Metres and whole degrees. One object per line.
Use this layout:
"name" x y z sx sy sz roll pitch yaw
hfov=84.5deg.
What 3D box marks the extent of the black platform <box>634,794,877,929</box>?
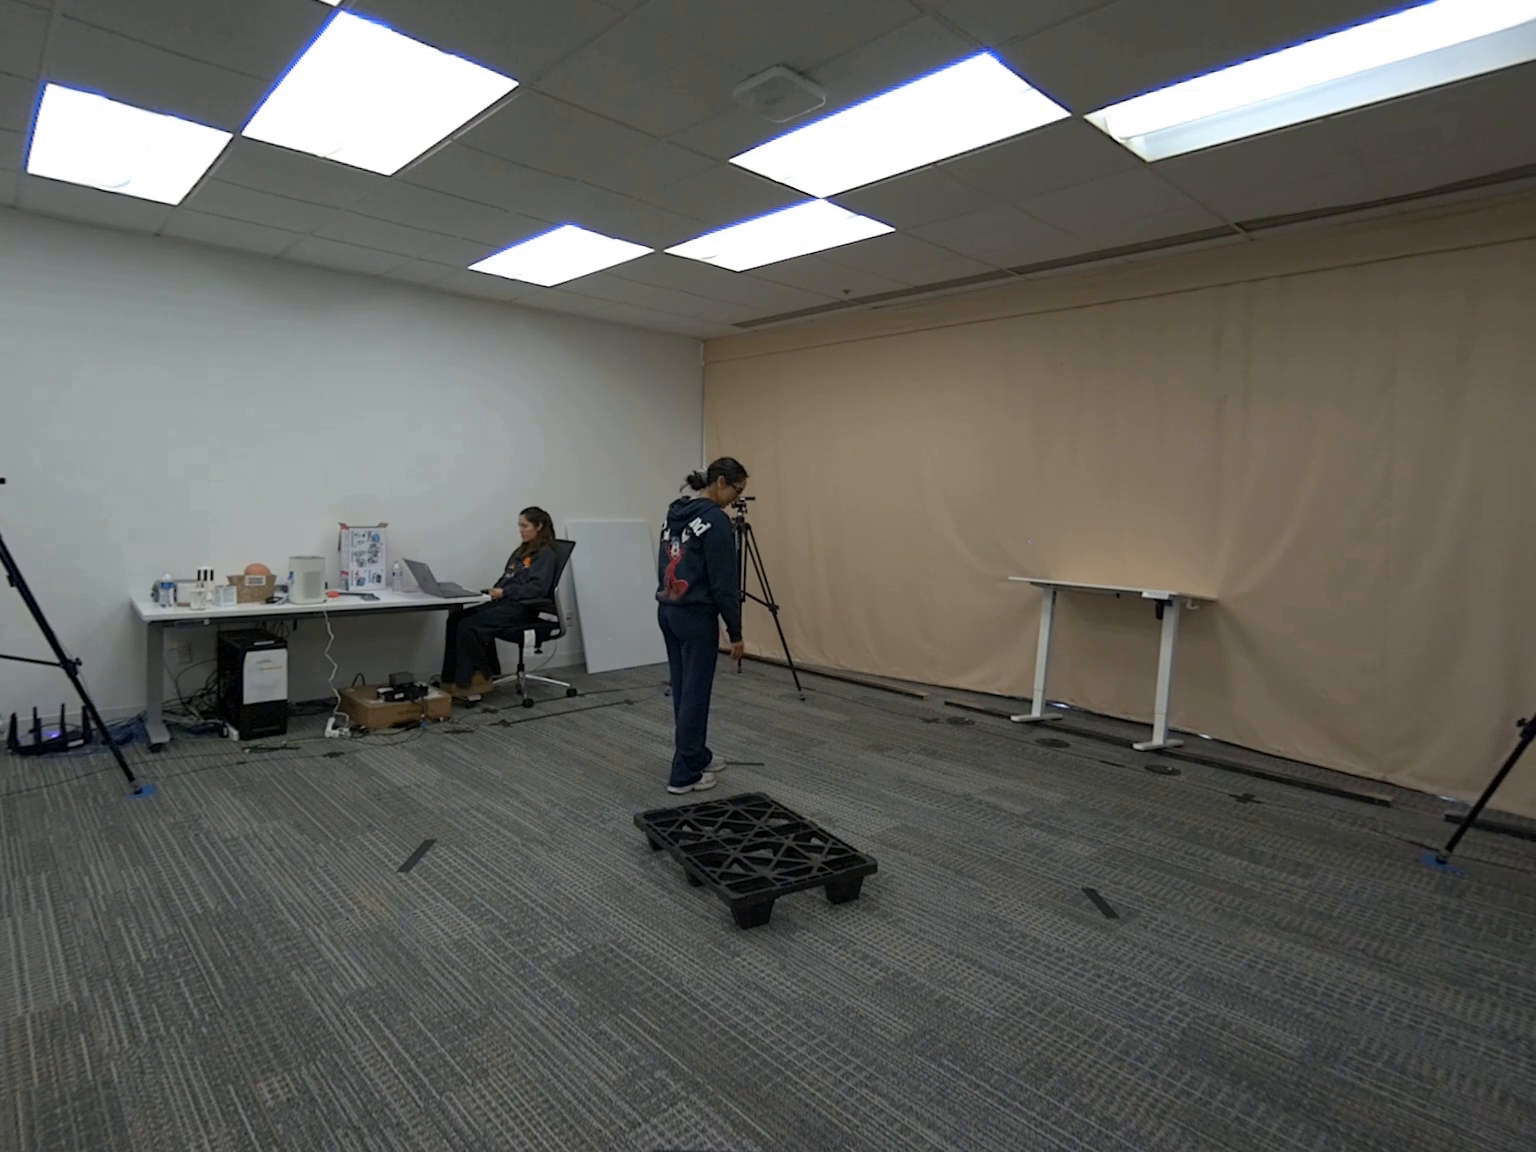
"black platform" -0.080 1.038 3.142 0.592 0.143 0.825 -1 6 -32
